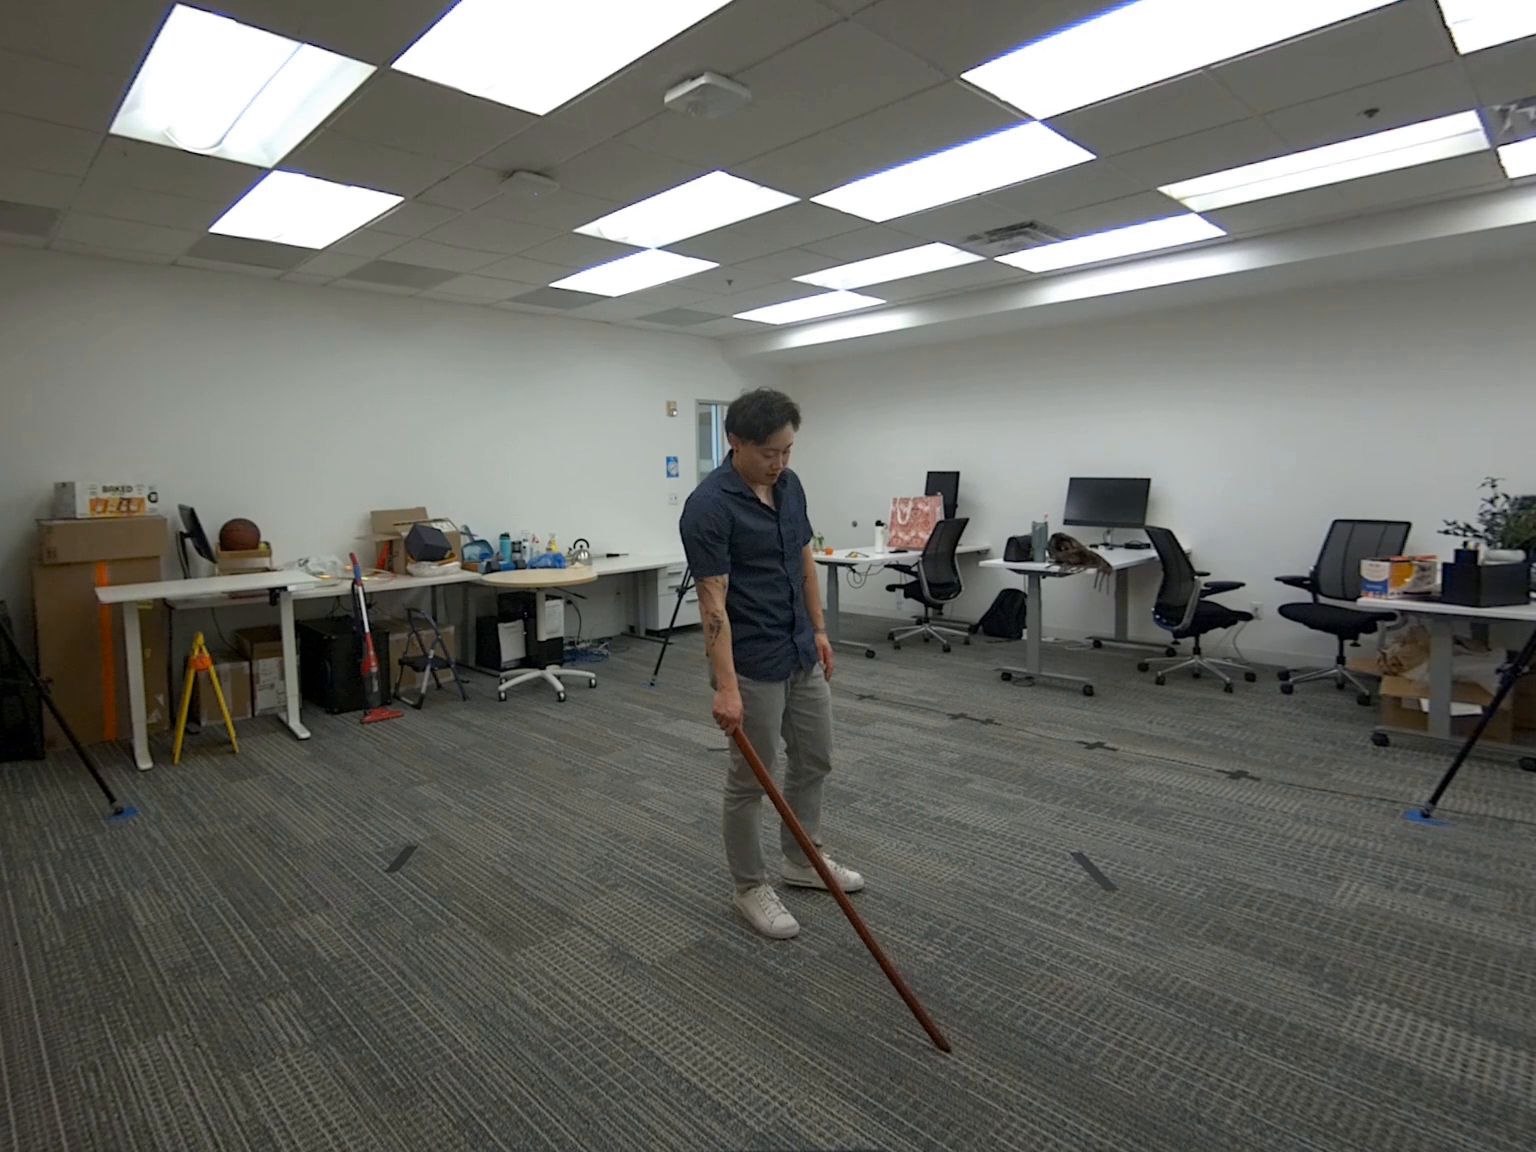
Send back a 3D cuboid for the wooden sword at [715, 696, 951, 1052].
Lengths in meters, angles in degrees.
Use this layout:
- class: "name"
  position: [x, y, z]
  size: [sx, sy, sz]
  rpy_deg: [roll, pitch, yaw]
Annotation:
- class: "wooden sword"
  position: [0.152, 0.772, 2.262]
  size: [0.024, 1.051, 0.050]
  rpy_deg: [-48, -23, 28]
